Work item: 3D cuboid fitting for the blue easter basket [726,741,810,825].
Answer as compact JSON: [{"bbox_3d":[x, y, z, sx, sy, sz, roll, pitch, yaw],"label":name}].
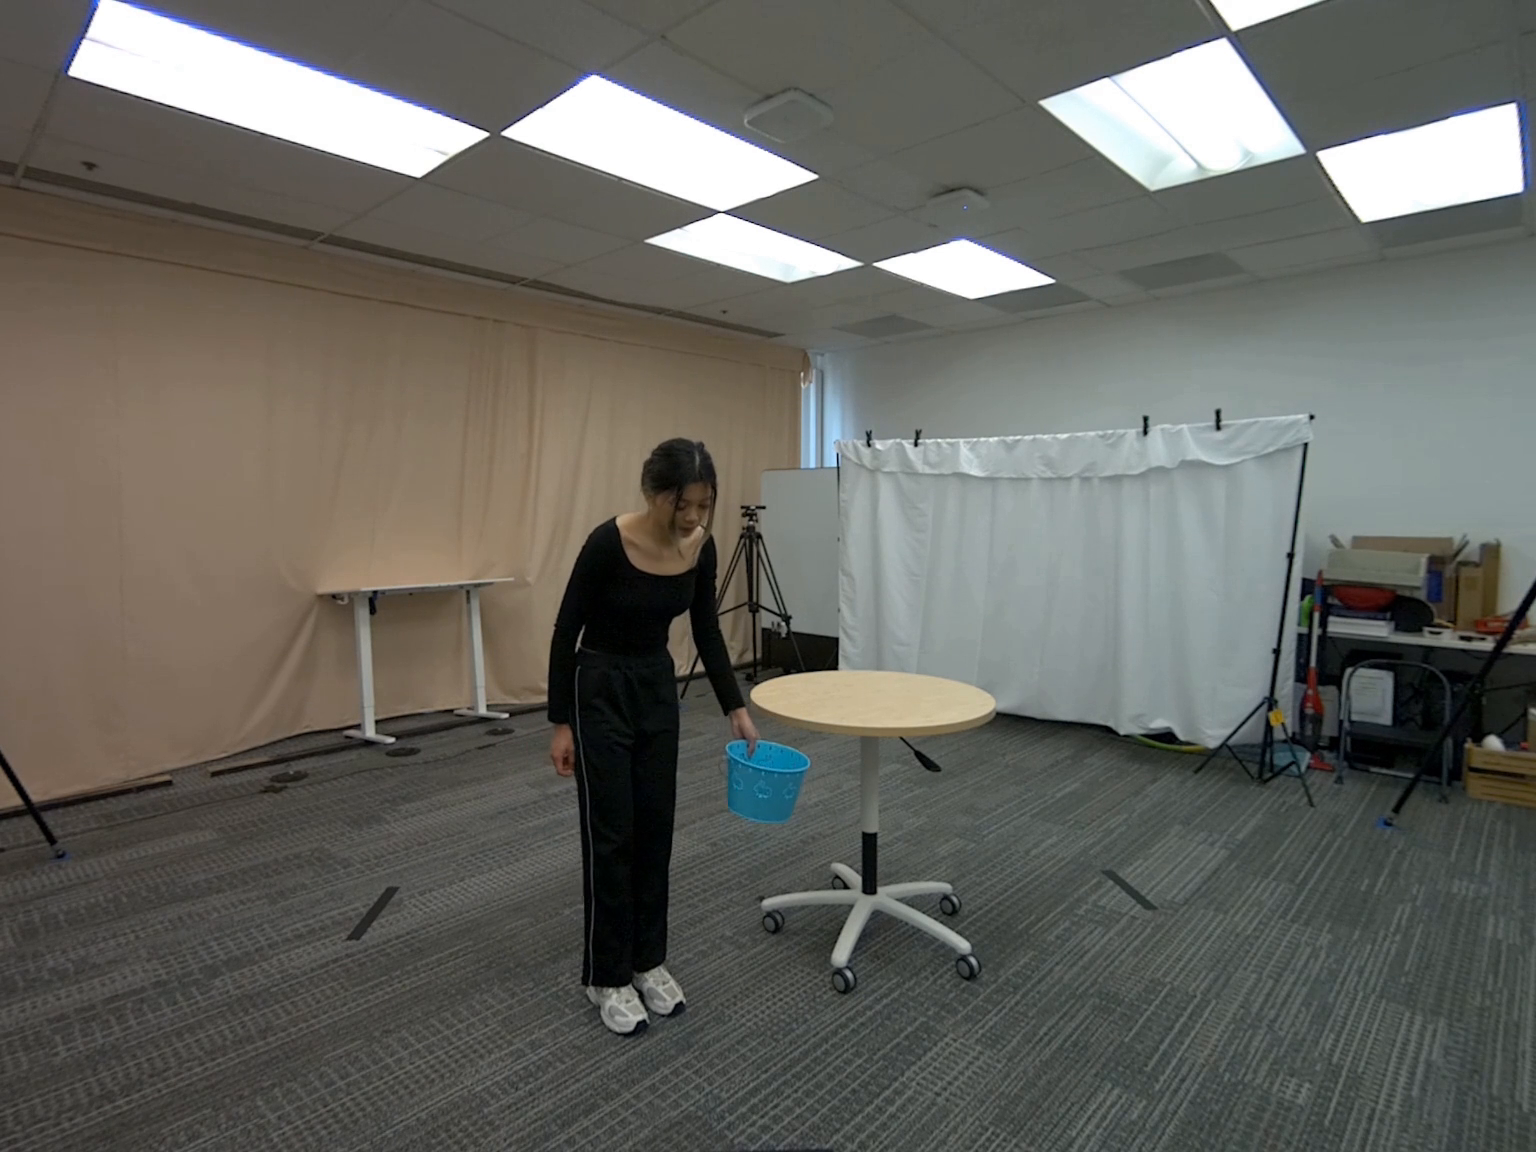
[{"bbox_3d":[-0.008,0.568,2.257,0.243,0.155,0.244,7,4,-2],"label":"blue easter basket"}]
